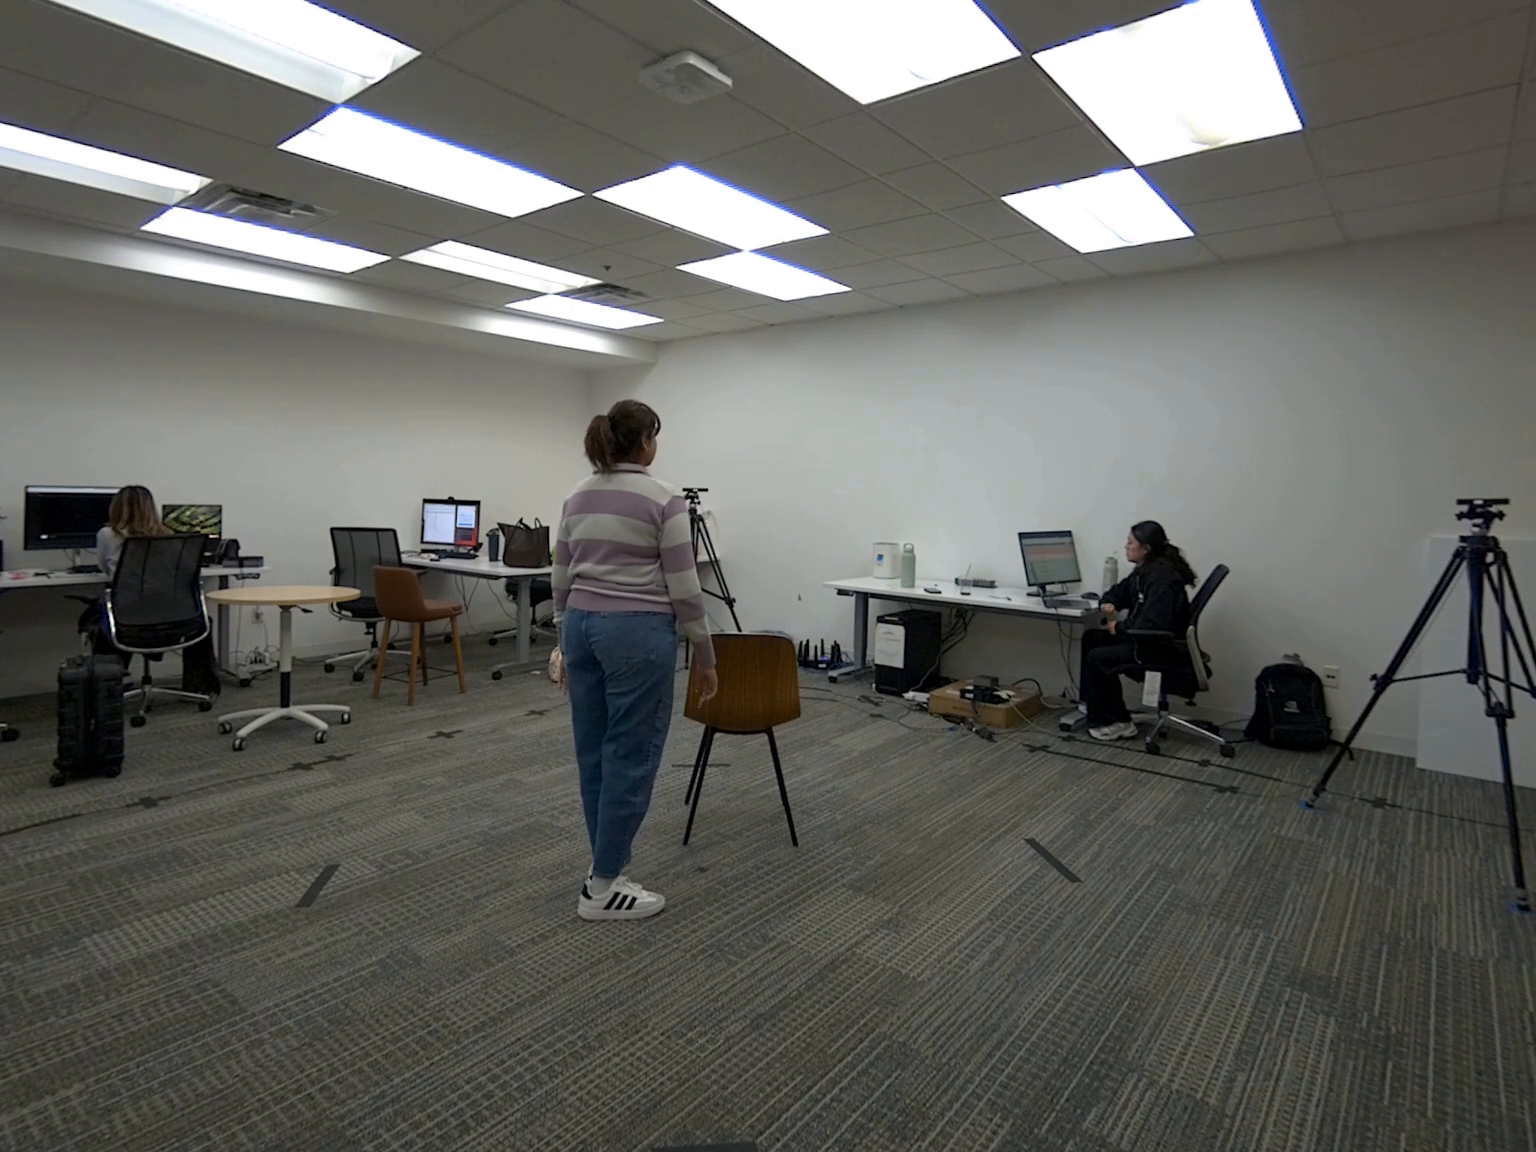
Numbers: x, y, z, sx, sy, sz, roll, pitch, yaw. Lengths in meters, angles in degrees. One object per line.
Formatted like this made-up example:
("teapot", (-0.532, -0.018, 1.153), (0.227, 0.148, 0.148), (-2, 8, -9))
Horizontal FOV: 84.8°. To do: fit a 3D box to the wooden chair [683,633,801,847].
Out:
("wooden chair", (-0.131, 0.602, 3.526), (0.477, 0.872, 0.528), (0, 7, -4))
